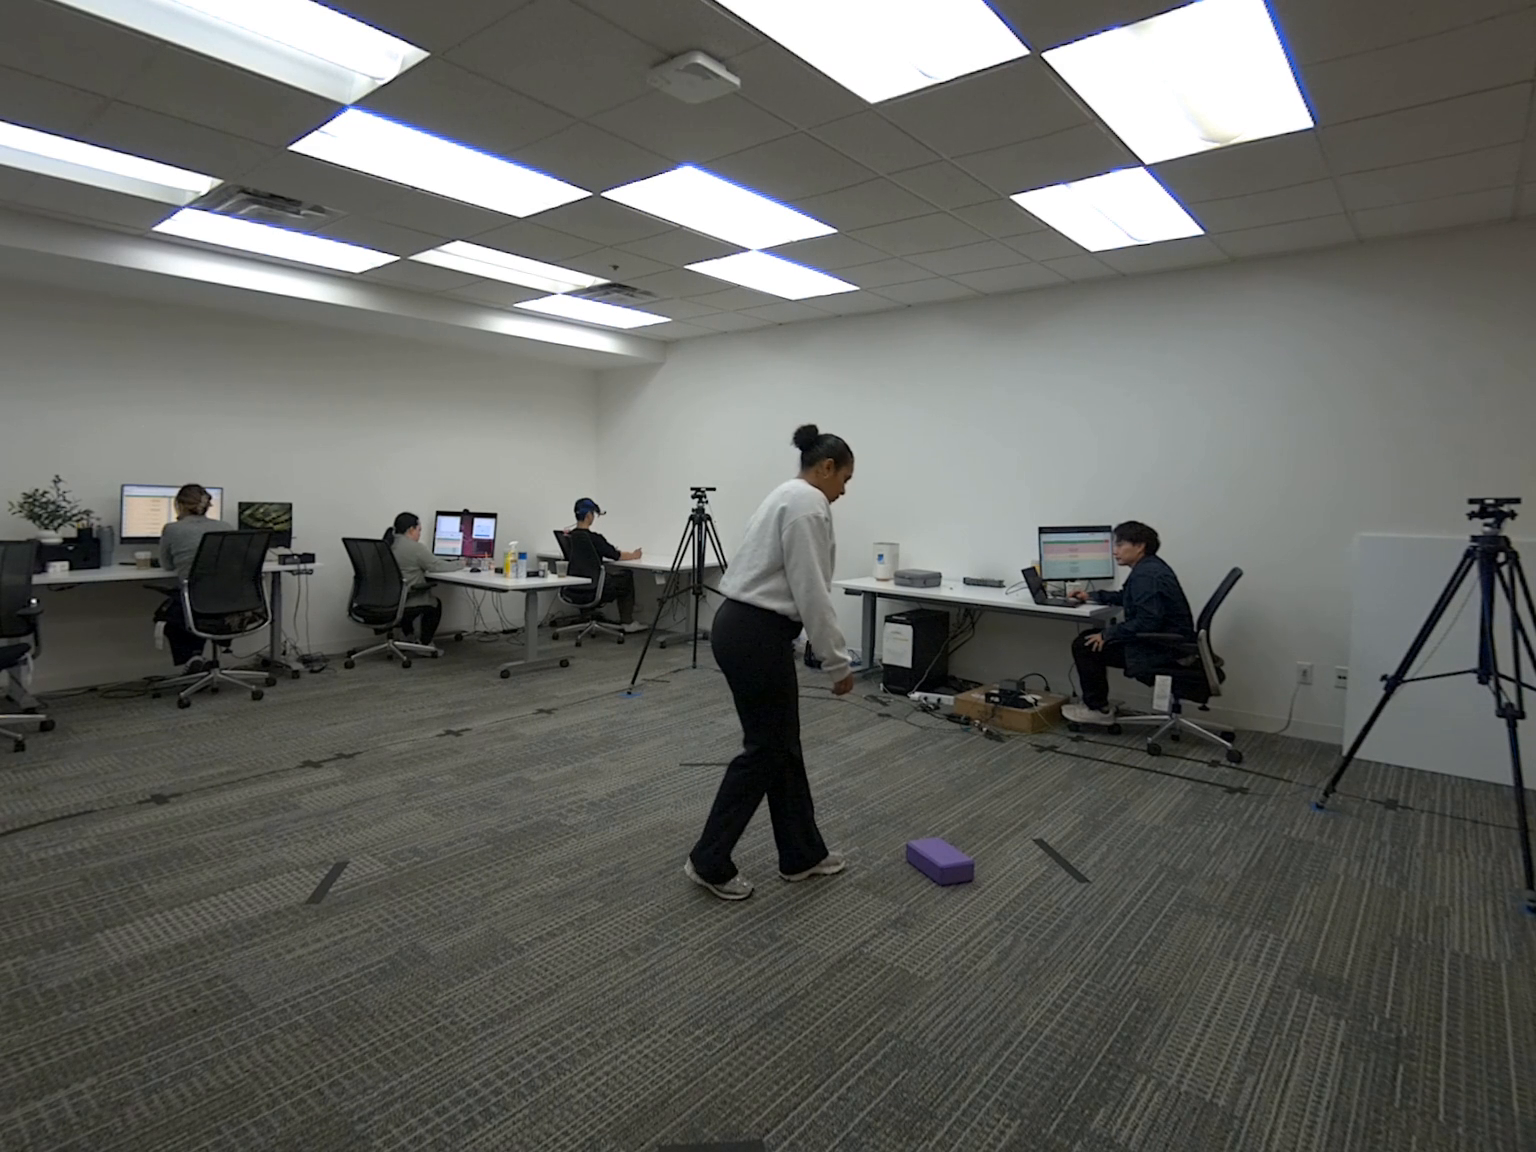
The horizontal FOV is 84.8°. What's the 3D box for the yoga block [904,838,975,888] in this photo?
[{"bbox_3d":[0.625,1.048,3.127,0.146,0.076,0.235,-1,5,-22],"label":"yoga block"}]
